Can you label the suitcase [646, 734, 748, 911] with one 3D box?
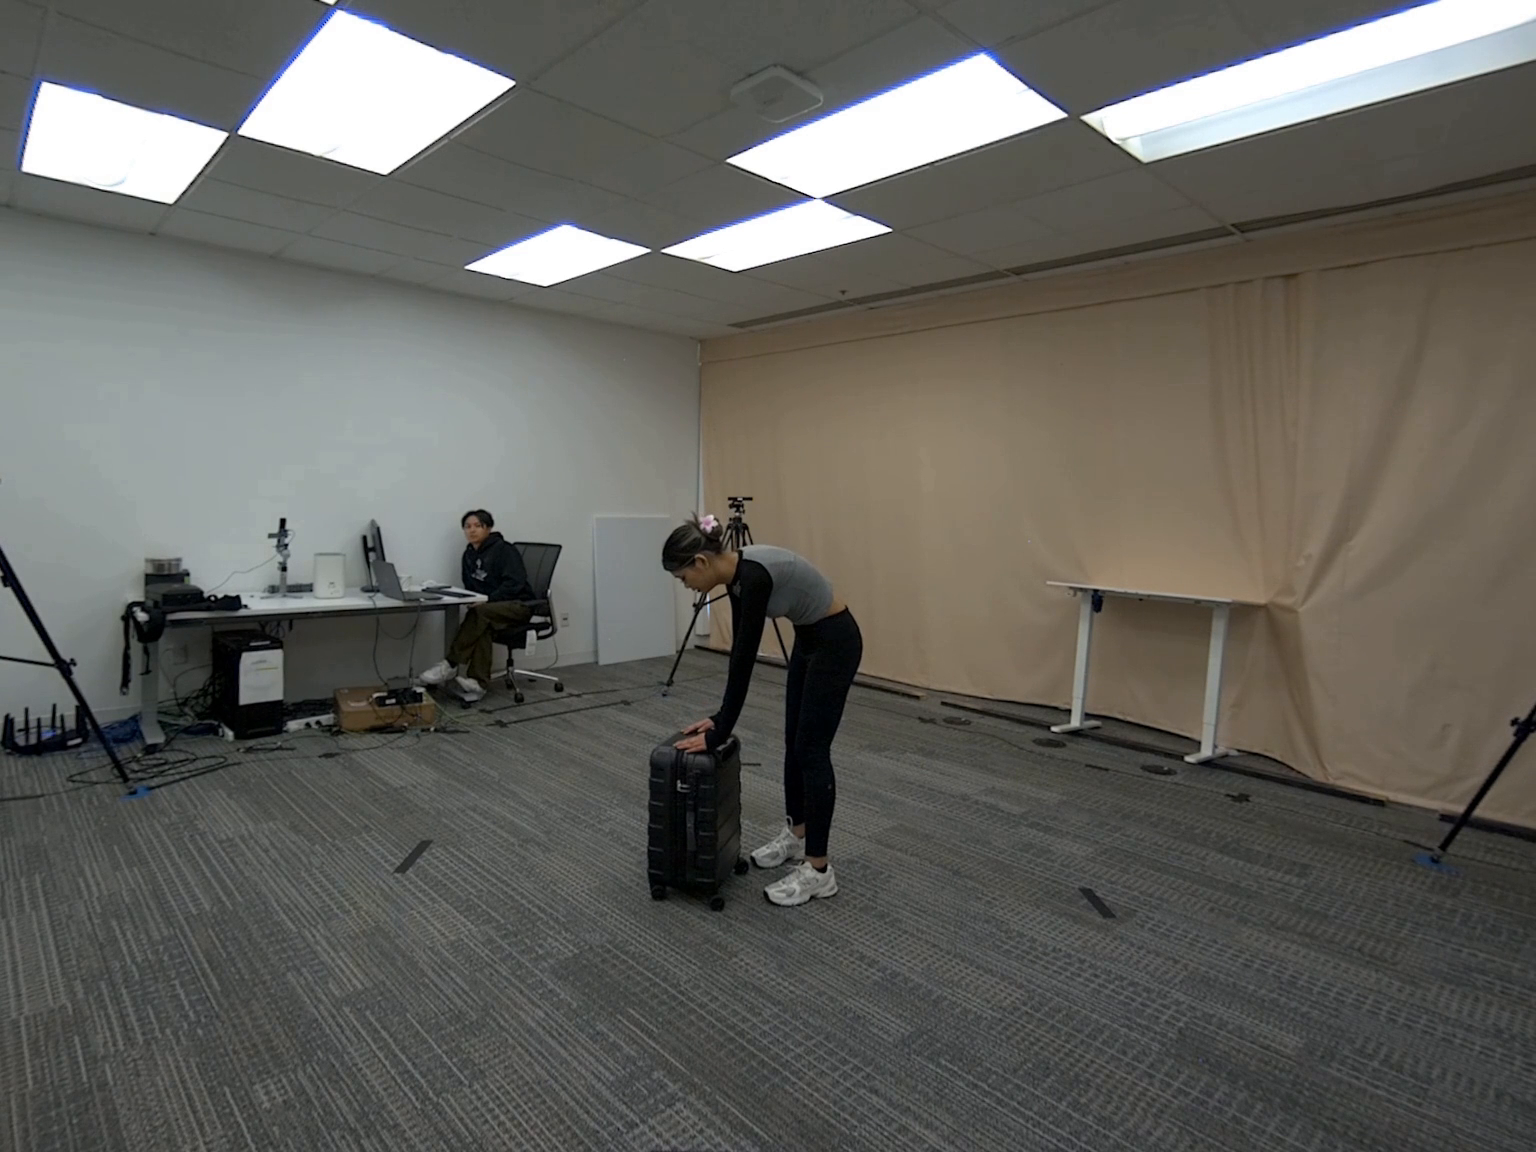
[{"bbox_3d":[-0.261,0.841,3.005,0.252,0.548,0.371,1,4,18],"label":"suitcase"}]
